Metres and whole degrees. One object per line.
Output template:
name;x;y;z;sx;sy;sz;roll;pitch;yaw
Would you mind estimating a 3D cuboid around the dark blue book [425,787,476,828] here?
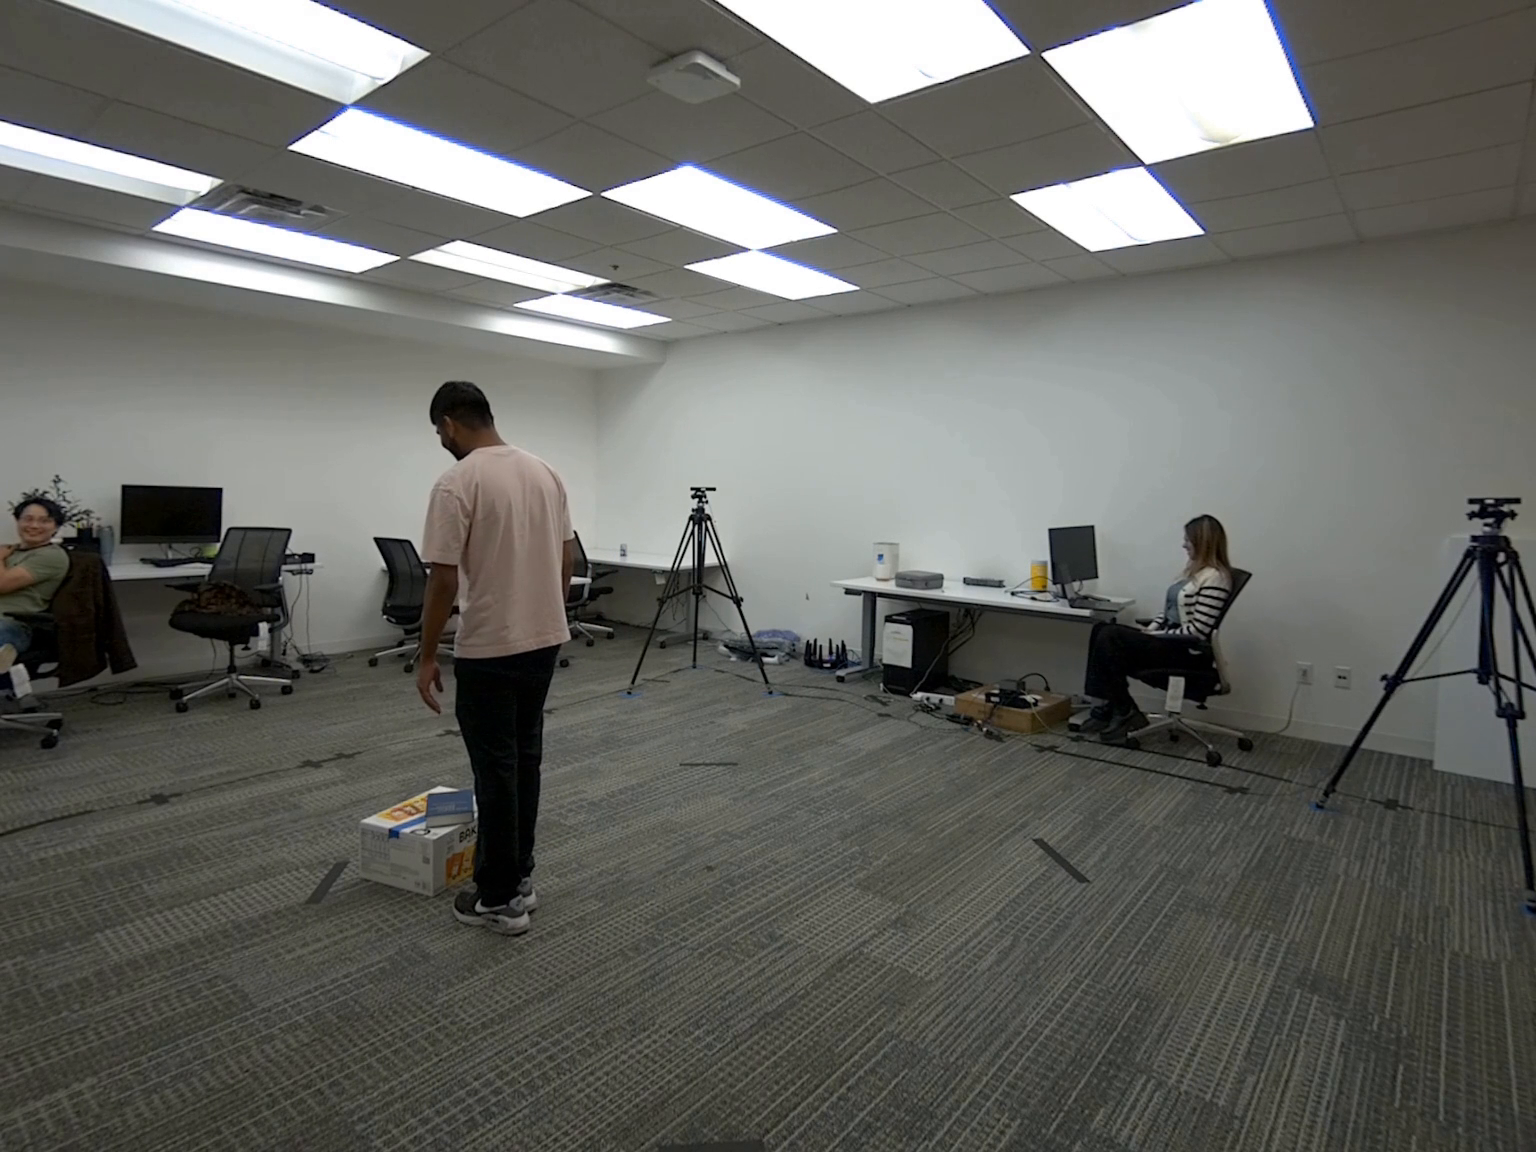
dark blue book;-1.171;0.840;3.080;0.160;0.045;0.250;-3;6;-19
